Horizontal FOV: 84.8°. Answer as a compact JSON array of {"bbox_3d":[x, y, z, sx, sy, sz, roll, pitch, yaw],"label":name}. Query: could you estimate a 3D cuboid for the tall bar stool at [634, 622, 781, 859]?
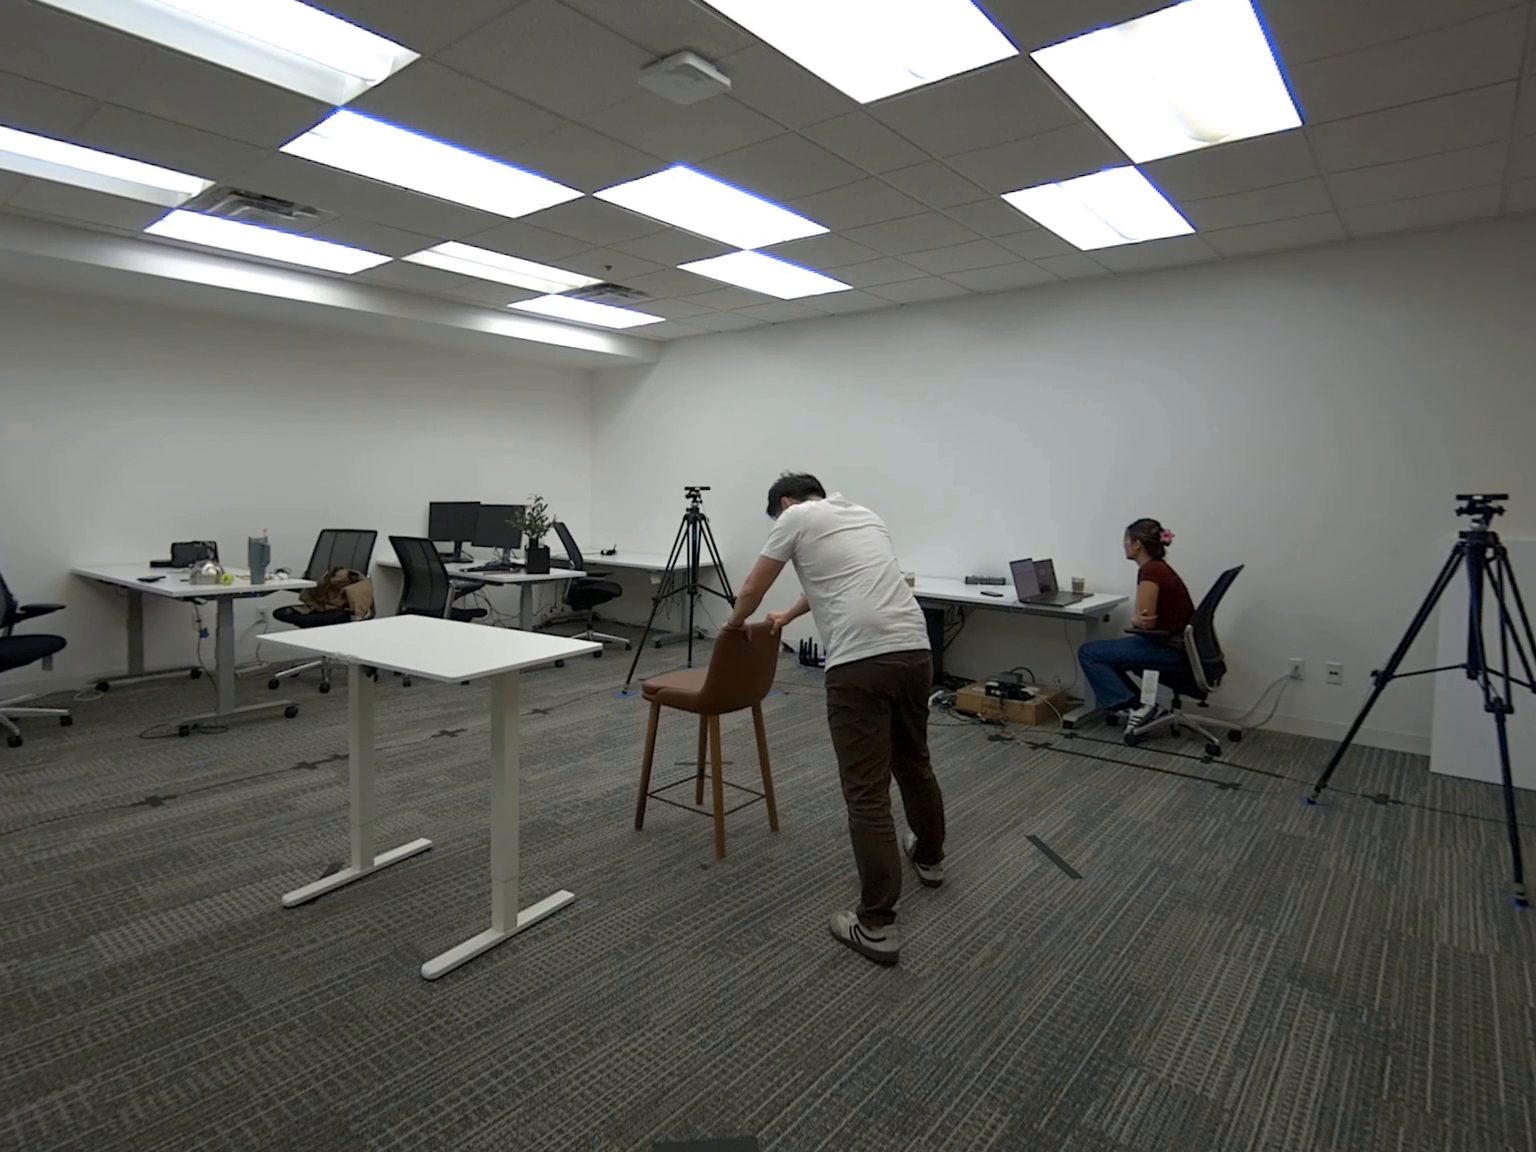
[{"bbox_3d":[-0.238,0.593,3.443,0.483,0.886,0.443,6,5,38],"label":"tall bar stool"}]
